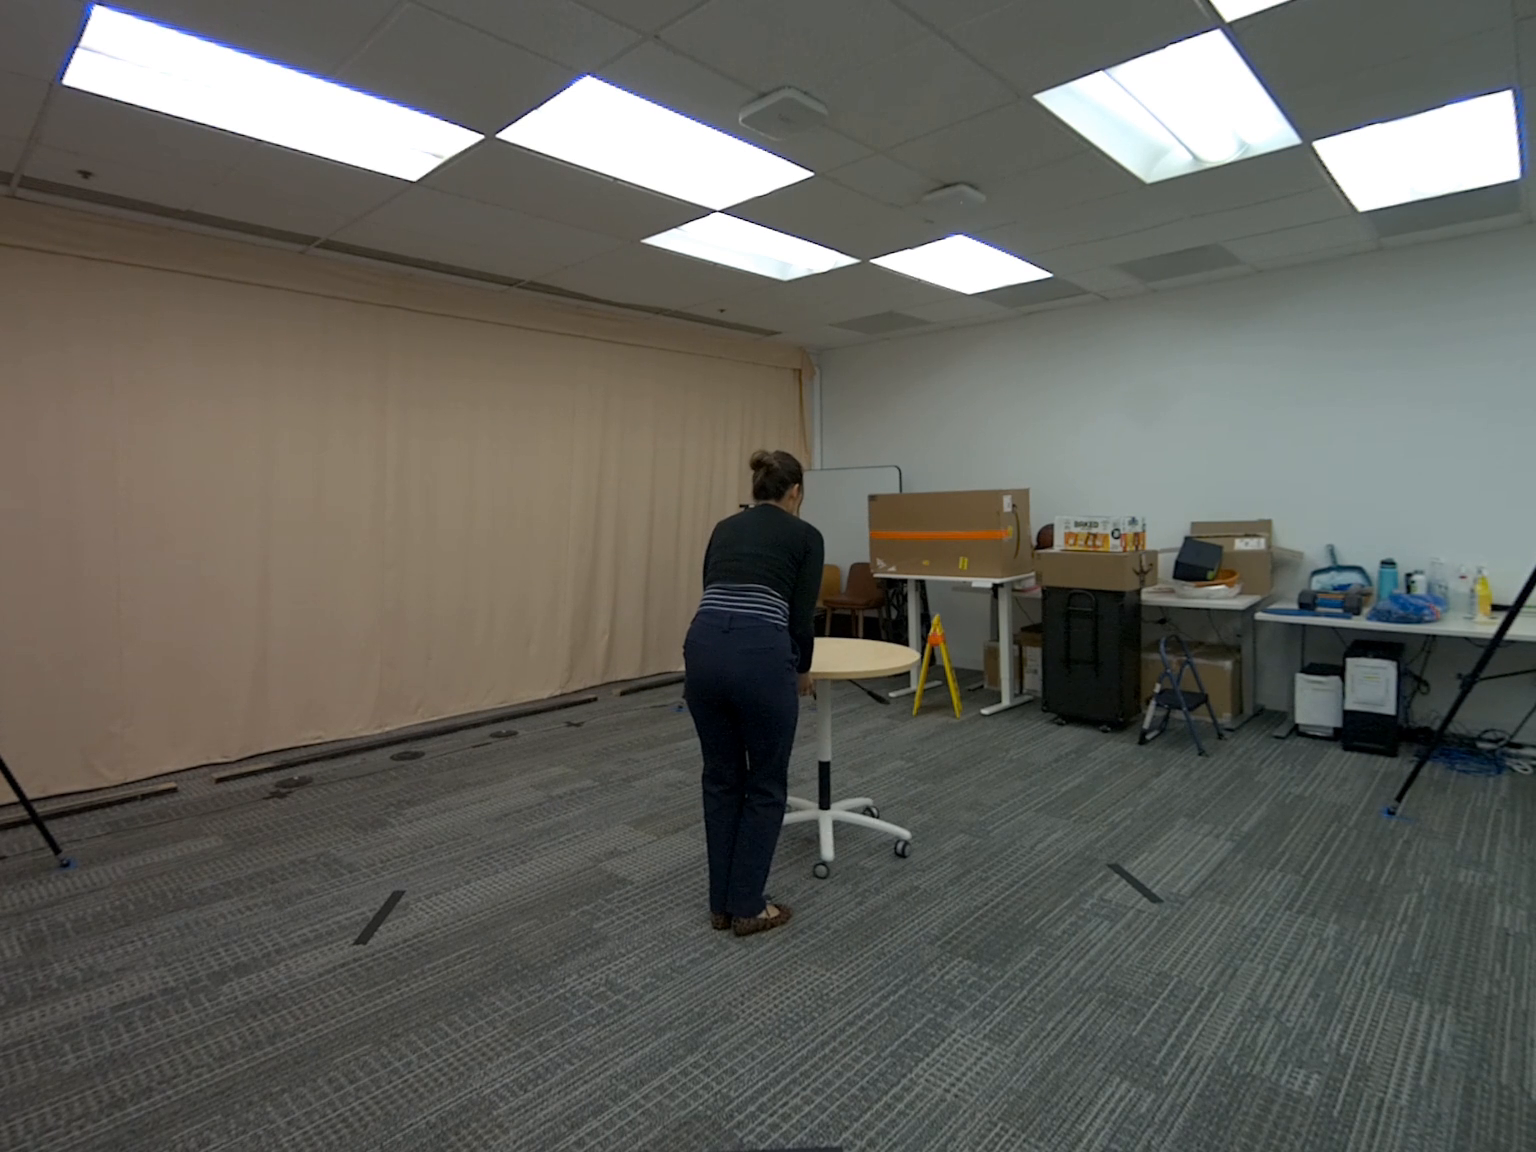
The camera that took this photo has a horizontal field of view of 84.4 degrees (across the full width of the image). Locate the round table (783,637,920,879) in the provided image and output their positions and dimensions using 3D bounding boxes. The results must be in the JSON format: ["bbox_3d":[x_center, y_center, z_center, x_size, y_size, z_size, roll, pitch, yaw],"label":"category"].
[{"bbox_3d":[0.237,0.706,3.431,0.763,0.792,0.766,0,4,-2],"label":"round table"}]
